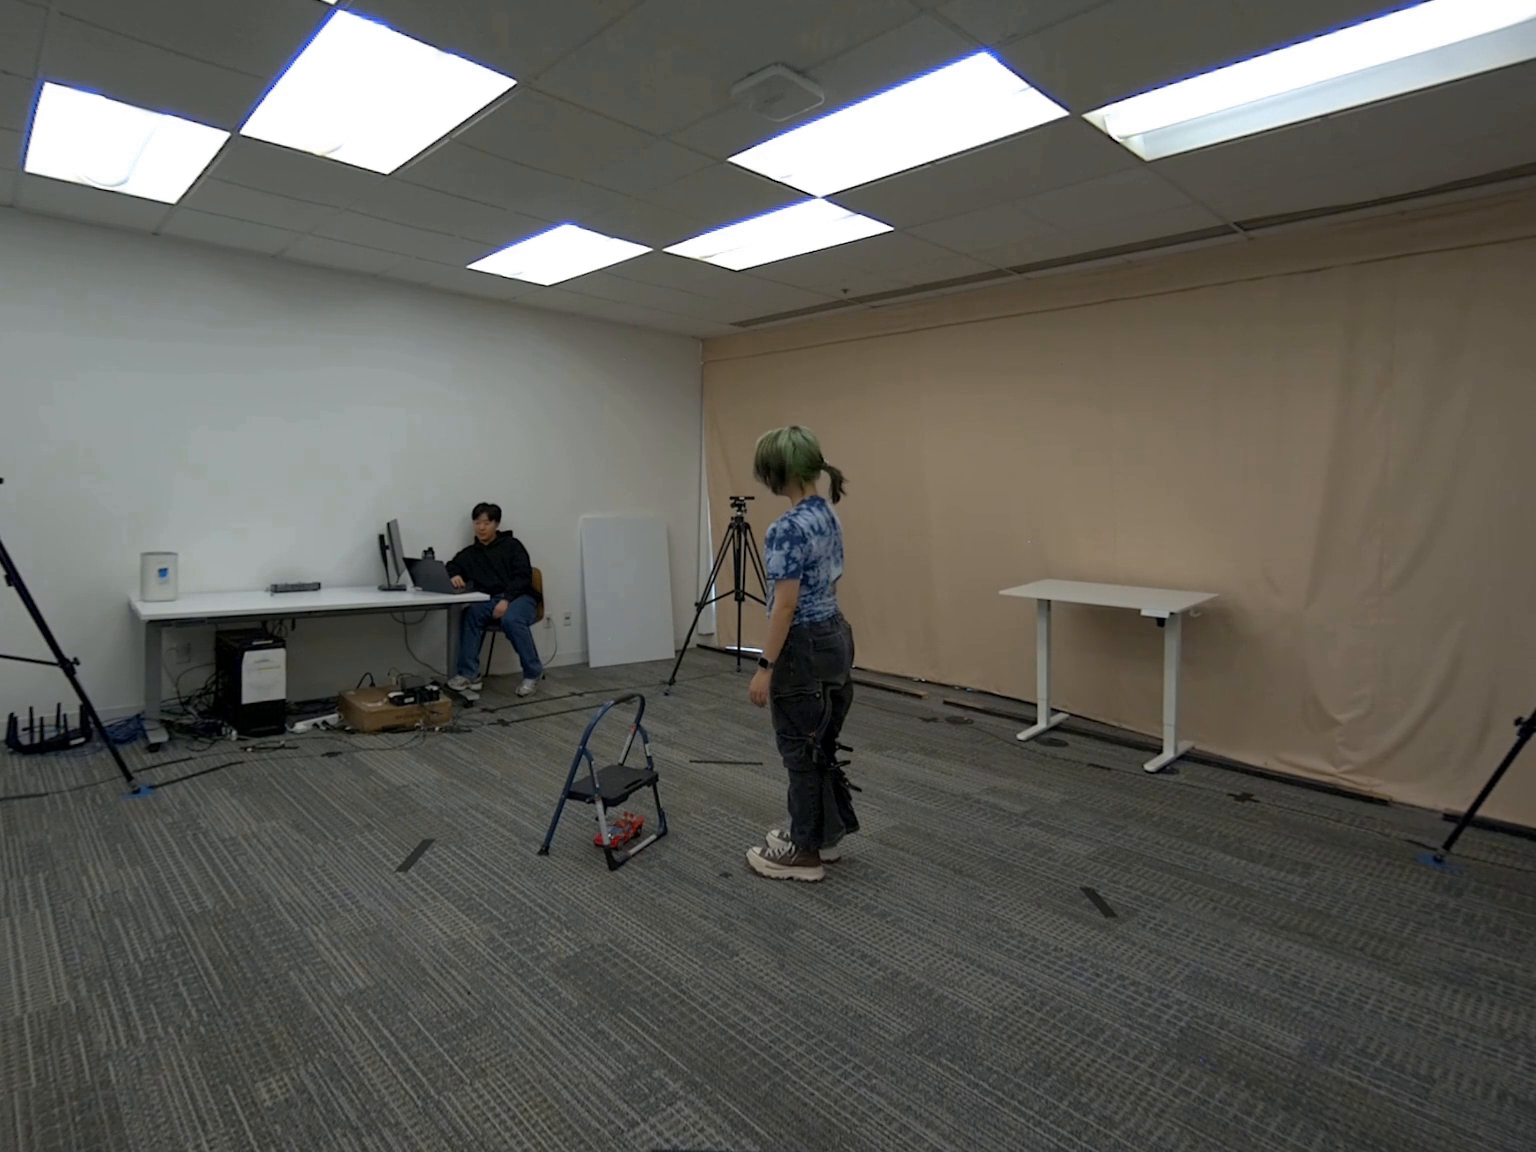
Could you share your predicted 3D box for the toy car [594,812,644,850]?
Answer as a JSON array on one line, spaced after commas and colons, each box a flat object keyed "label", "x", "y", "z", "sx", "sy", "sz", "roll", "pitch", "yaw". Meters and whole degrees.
[{"label": "toy car", "x": -0.600, "y": 1.031, "z": 3.400, "sx": 0.133, "sy": 0.082, "sz": 0.252, "roll": 2, "pitch": 16, "yaw": 23}]
